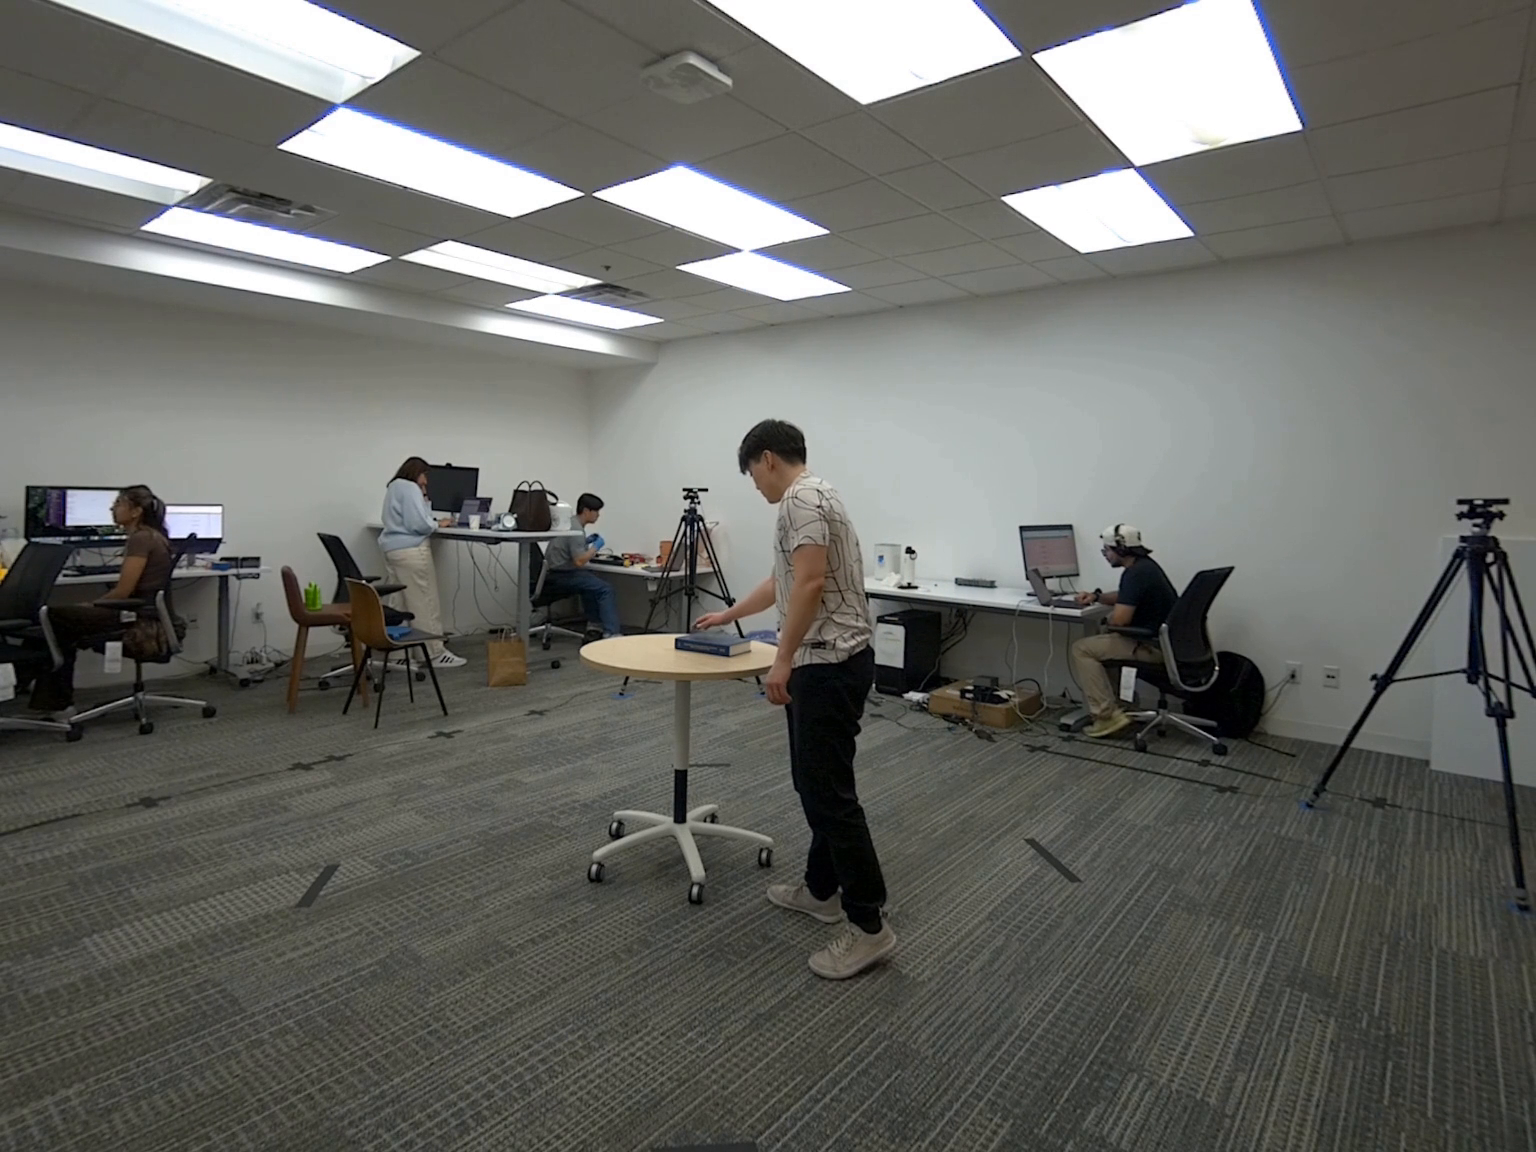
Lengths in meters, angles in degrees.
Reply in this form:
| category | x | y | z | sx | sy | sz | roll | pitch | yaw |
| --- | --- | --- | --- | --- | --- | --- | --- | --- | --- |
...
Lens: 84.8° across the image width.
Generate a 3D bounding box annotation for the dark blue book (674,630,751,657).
| category | x | y | z | sx | sy | sz | roll | pitch | yaw |
| --- | --- | --- | --- | --- | --- | --- | --- | --- | --- |
| dark blue book | -0.212 | 0.254 | 3.205 | 0.252 | 0.045 | 0.159 | 4 | 6 | 31 |
